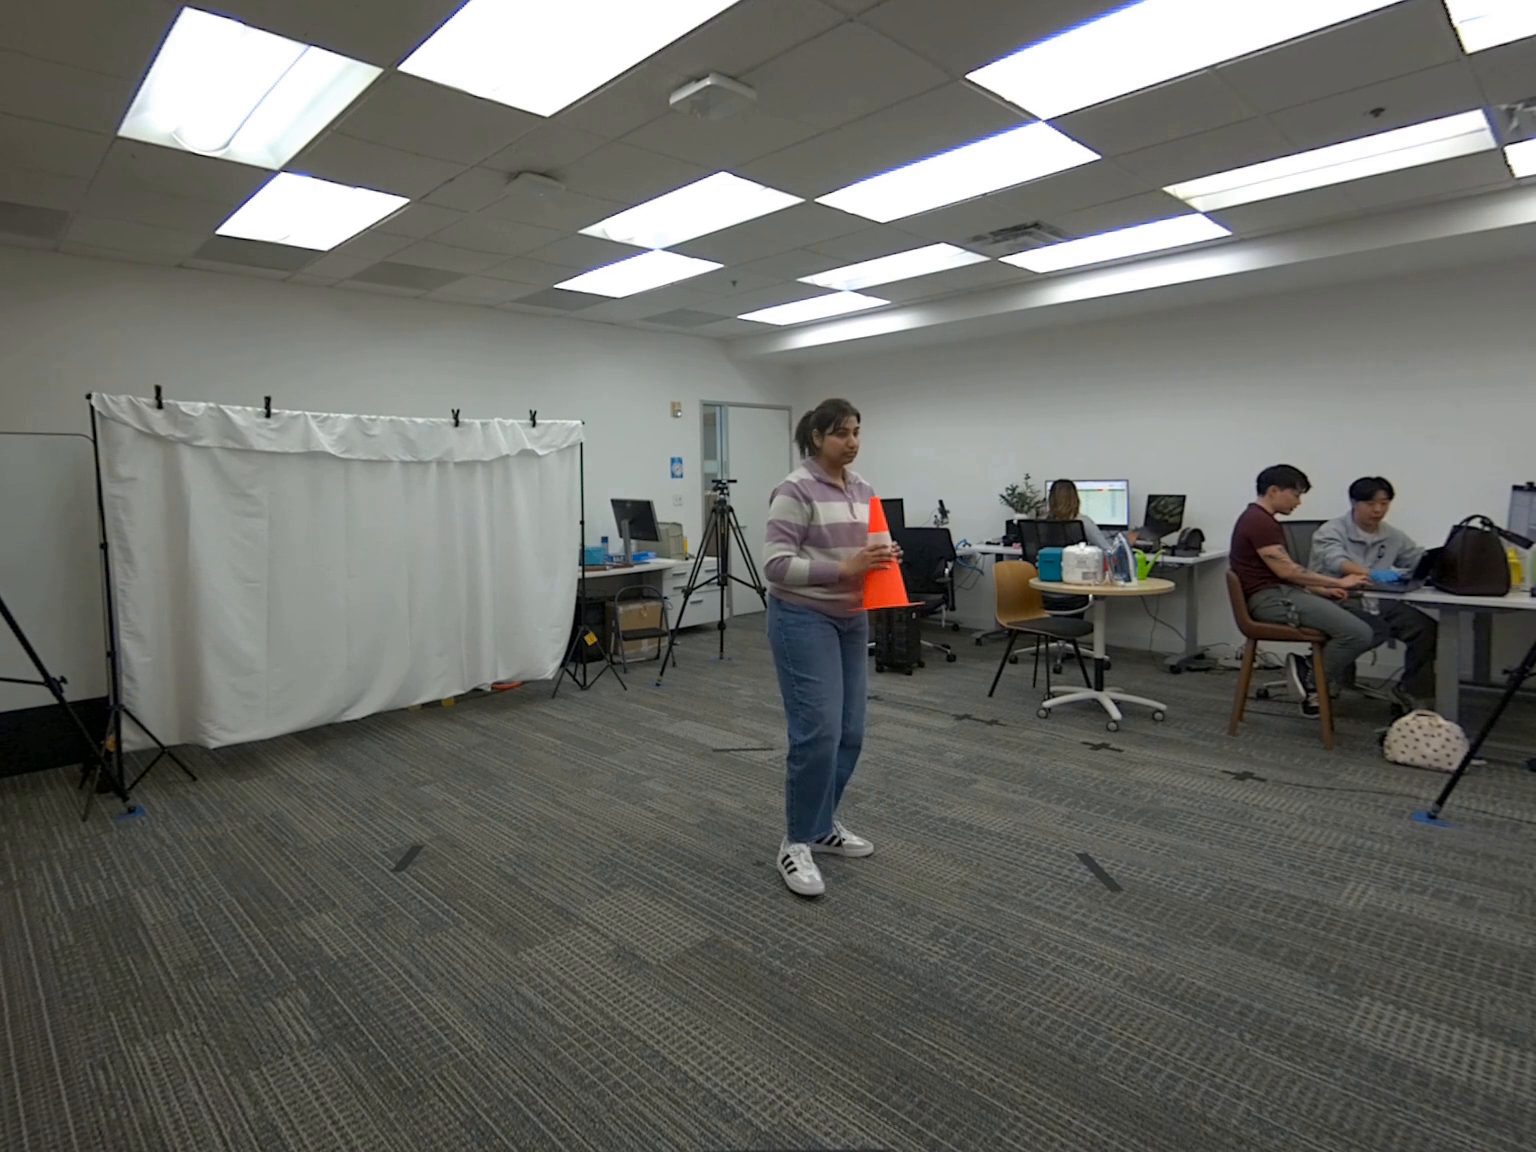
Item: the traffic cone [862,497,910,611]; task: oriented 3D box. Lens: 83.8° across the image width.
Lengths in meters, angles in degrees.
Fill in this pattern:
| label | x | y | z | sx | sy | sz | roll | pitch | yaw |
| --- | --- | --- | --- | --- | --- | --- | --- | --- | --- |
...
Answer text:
| label | x | y | z | sx | sy | sz | roll | pitch | yaw |
| --- | --- | --- | --- | --- | --- | --- | --- | --- | --- |
| traffic cone | 0.378 | -0.081 | 2.950 | 0.209 | 0.384 | 0.199 | -6 | -1 | 43 |
